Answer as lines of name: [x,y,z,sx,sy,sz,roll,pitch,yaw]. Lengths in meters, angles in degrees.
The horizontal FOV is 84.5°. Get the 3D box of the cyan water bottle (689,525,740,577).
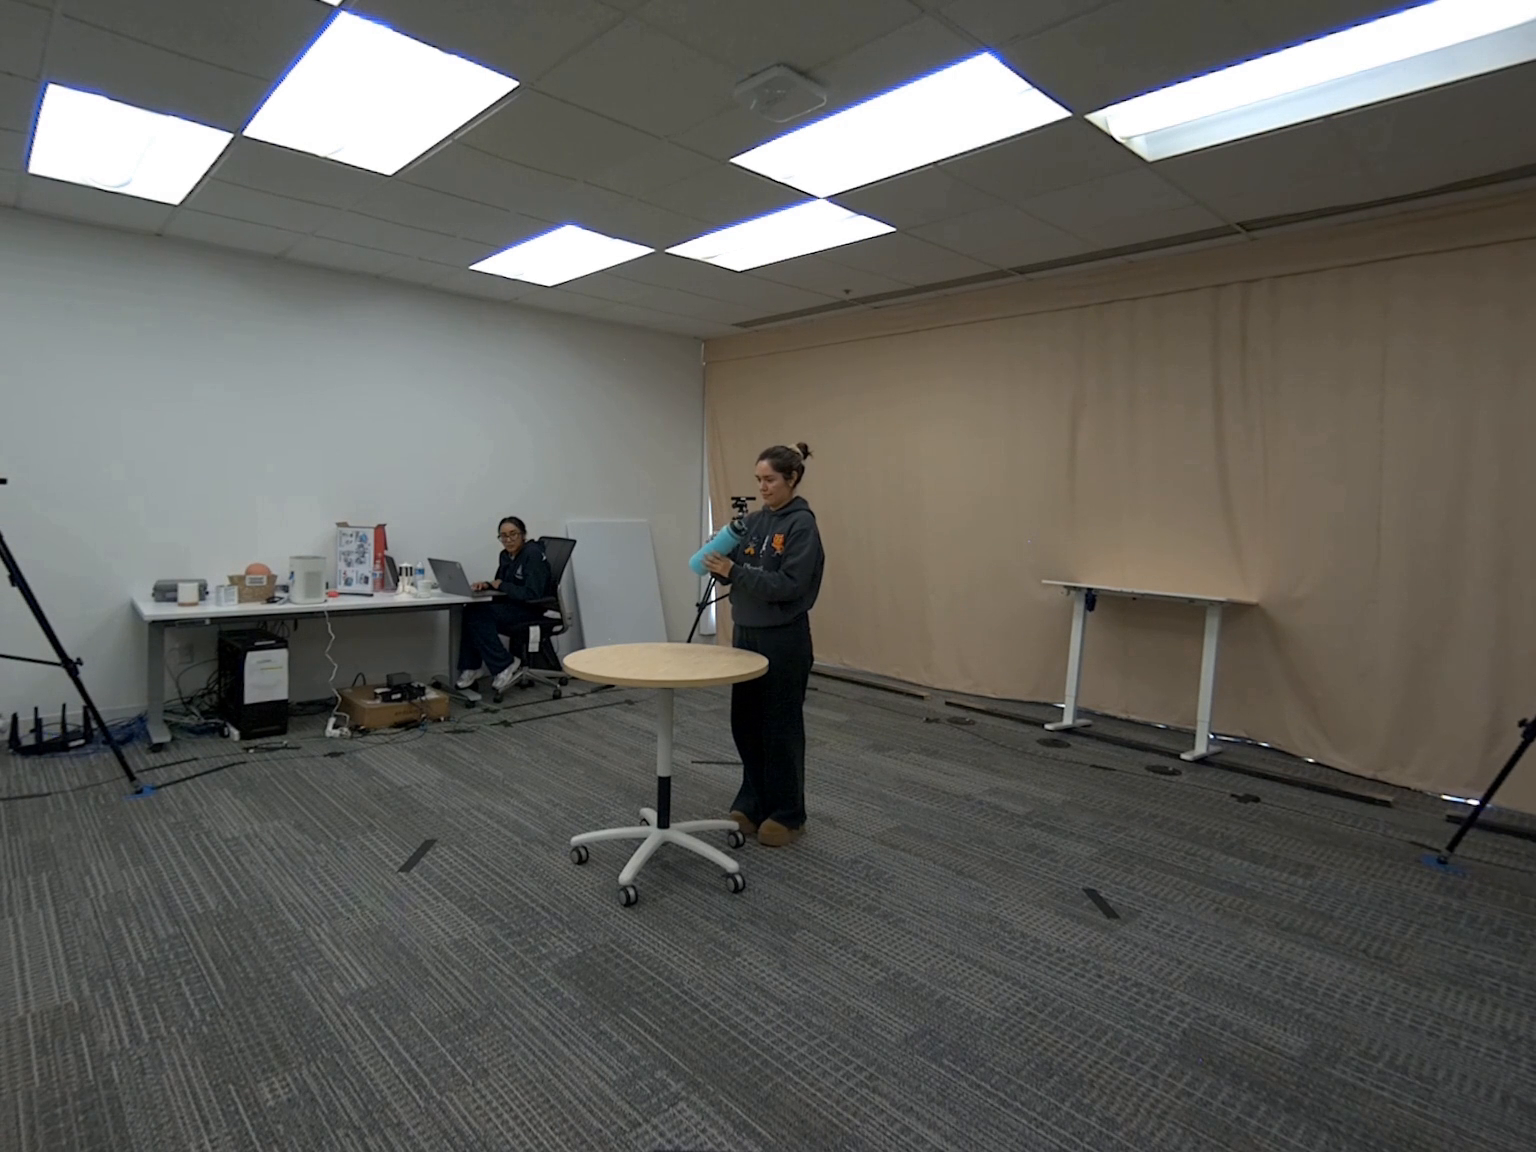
cyan water bottle: [-0.203,-0.119,3.316,0.283,0.094,0.090,-44,-18,25]
